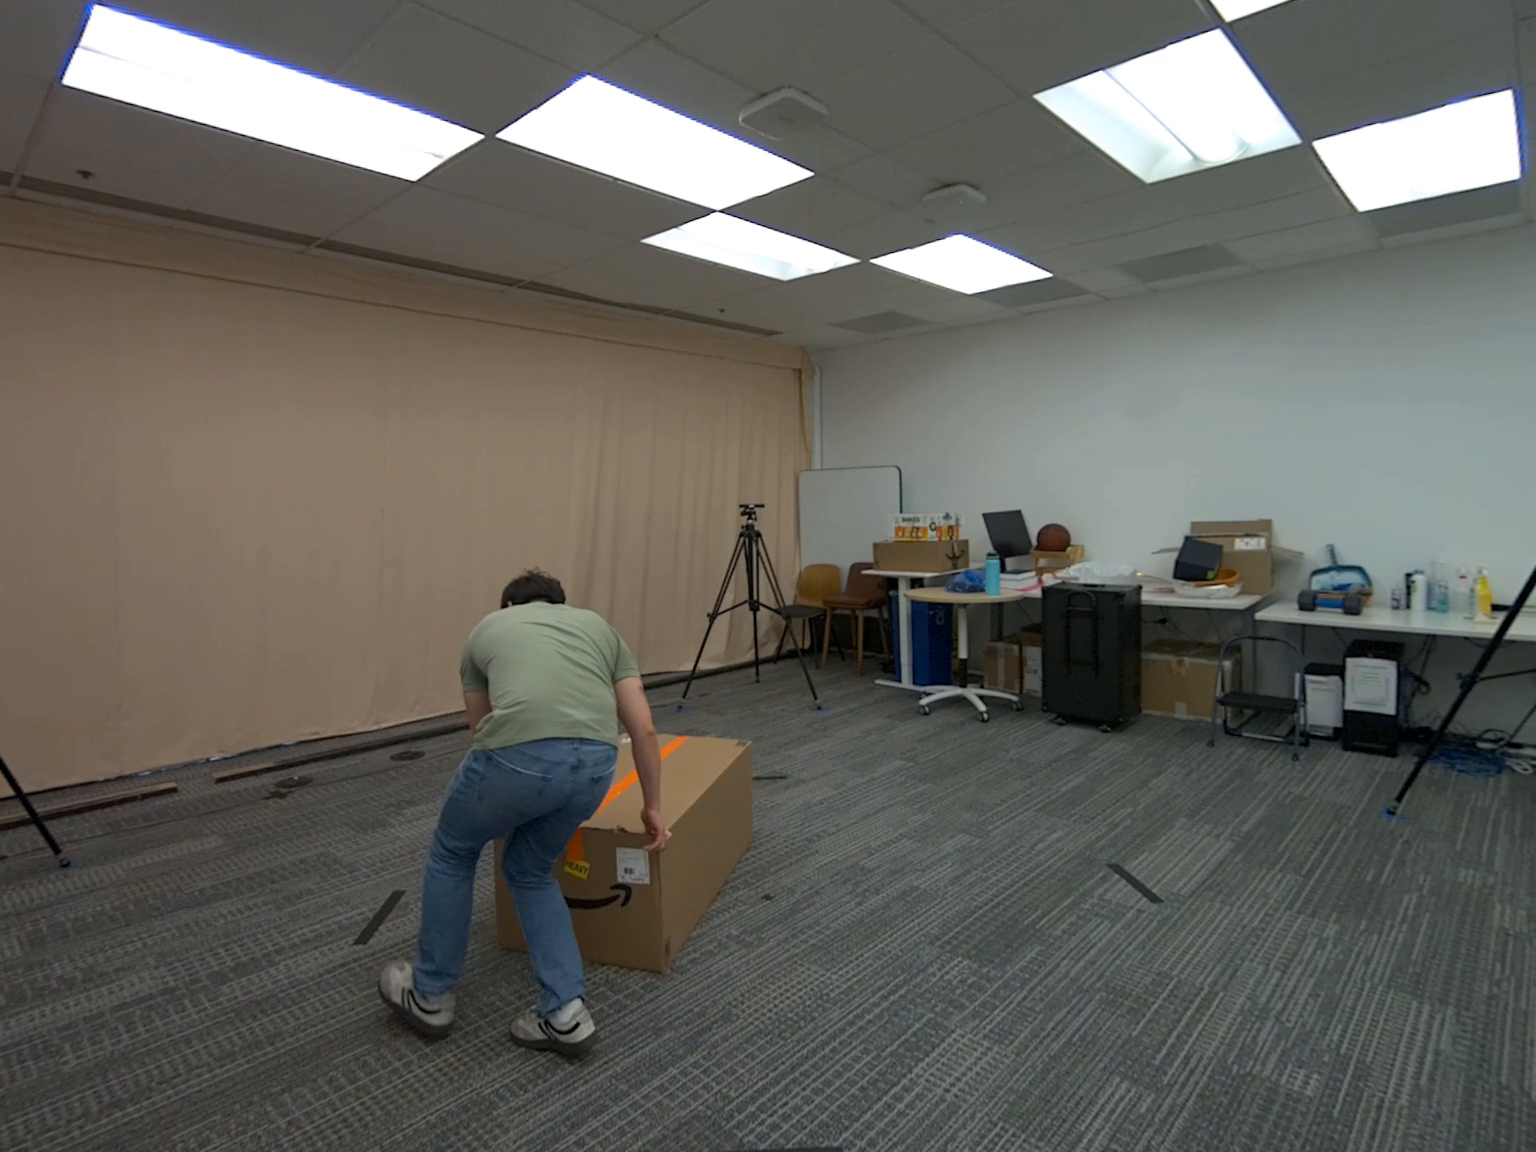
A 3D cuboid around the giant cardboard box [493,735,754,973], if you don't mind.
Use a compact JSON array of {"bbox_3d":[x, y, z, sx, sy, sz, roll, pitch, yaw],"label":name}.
[{"bbox_3d":[-0.462,0.929,3.067,0.587,0.425,1.011,-1,5,15],"label":"giant cardboard box"}]
